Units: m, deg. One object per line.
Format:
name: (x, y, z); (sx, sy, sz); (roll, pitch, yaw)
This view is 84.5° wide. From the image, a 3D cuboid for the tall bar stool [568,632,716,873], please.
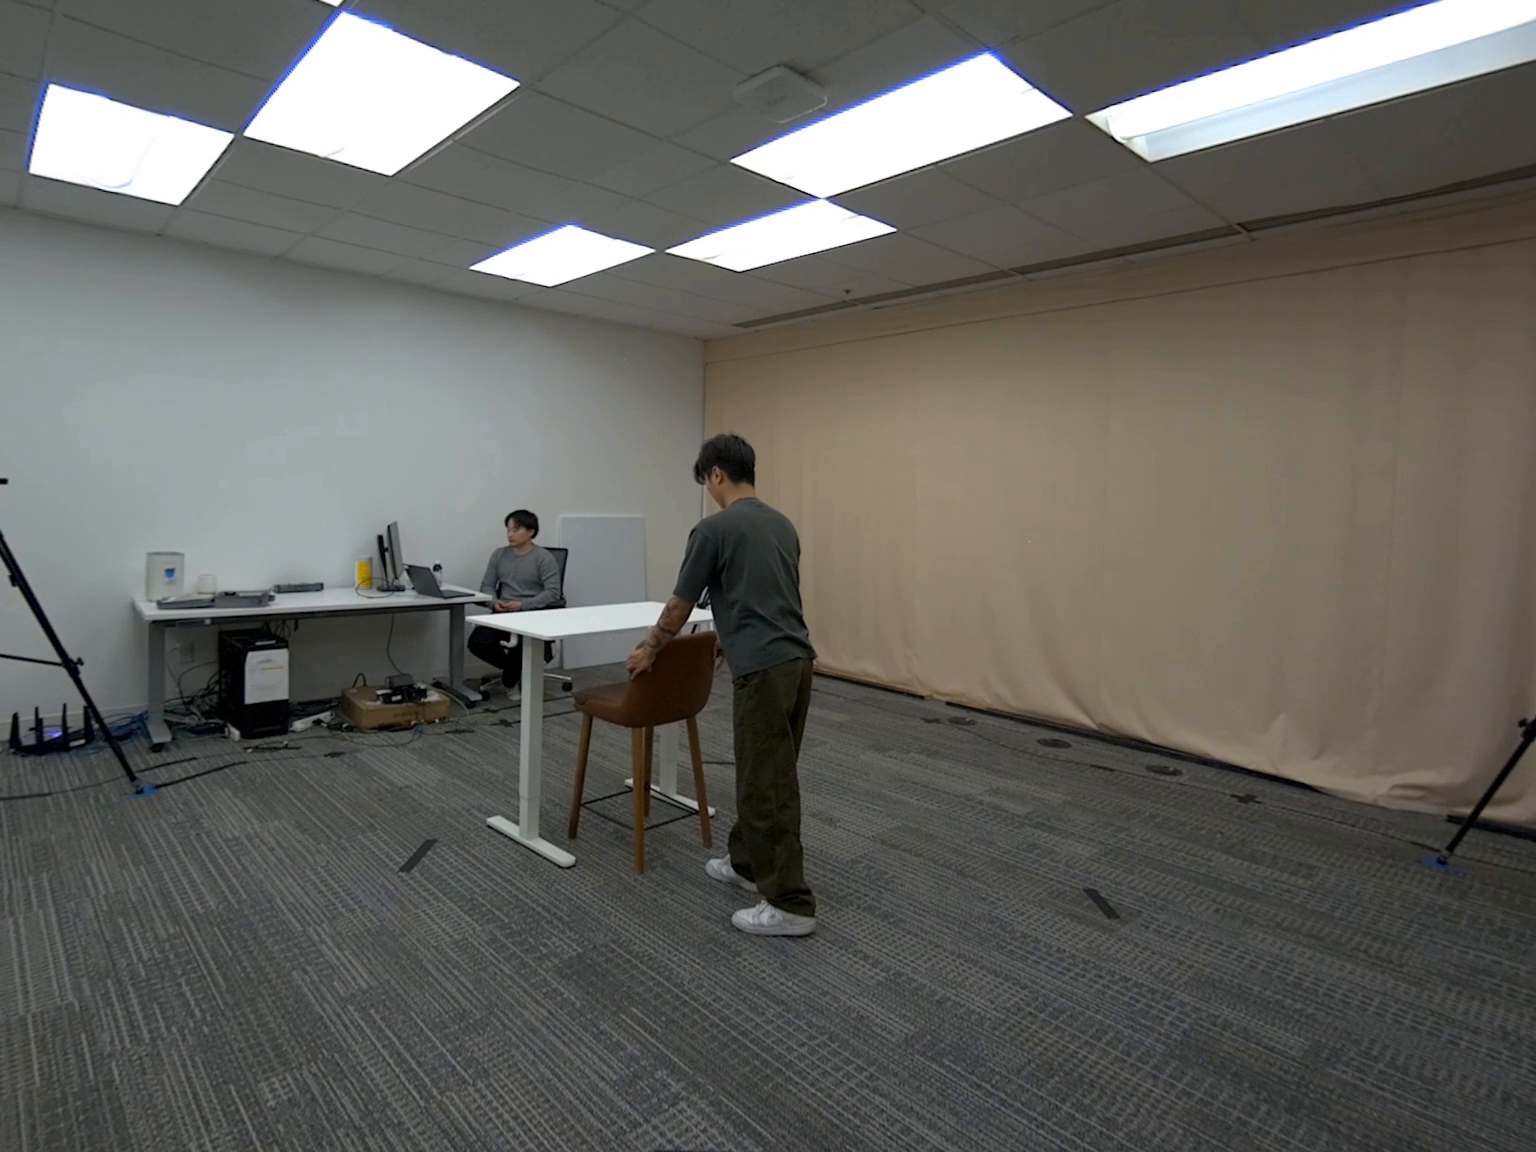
tall bar stool: (-0.497, 0.635, 3.355); (0.446, 0.886, 0.480); (-2, 8, -45)
